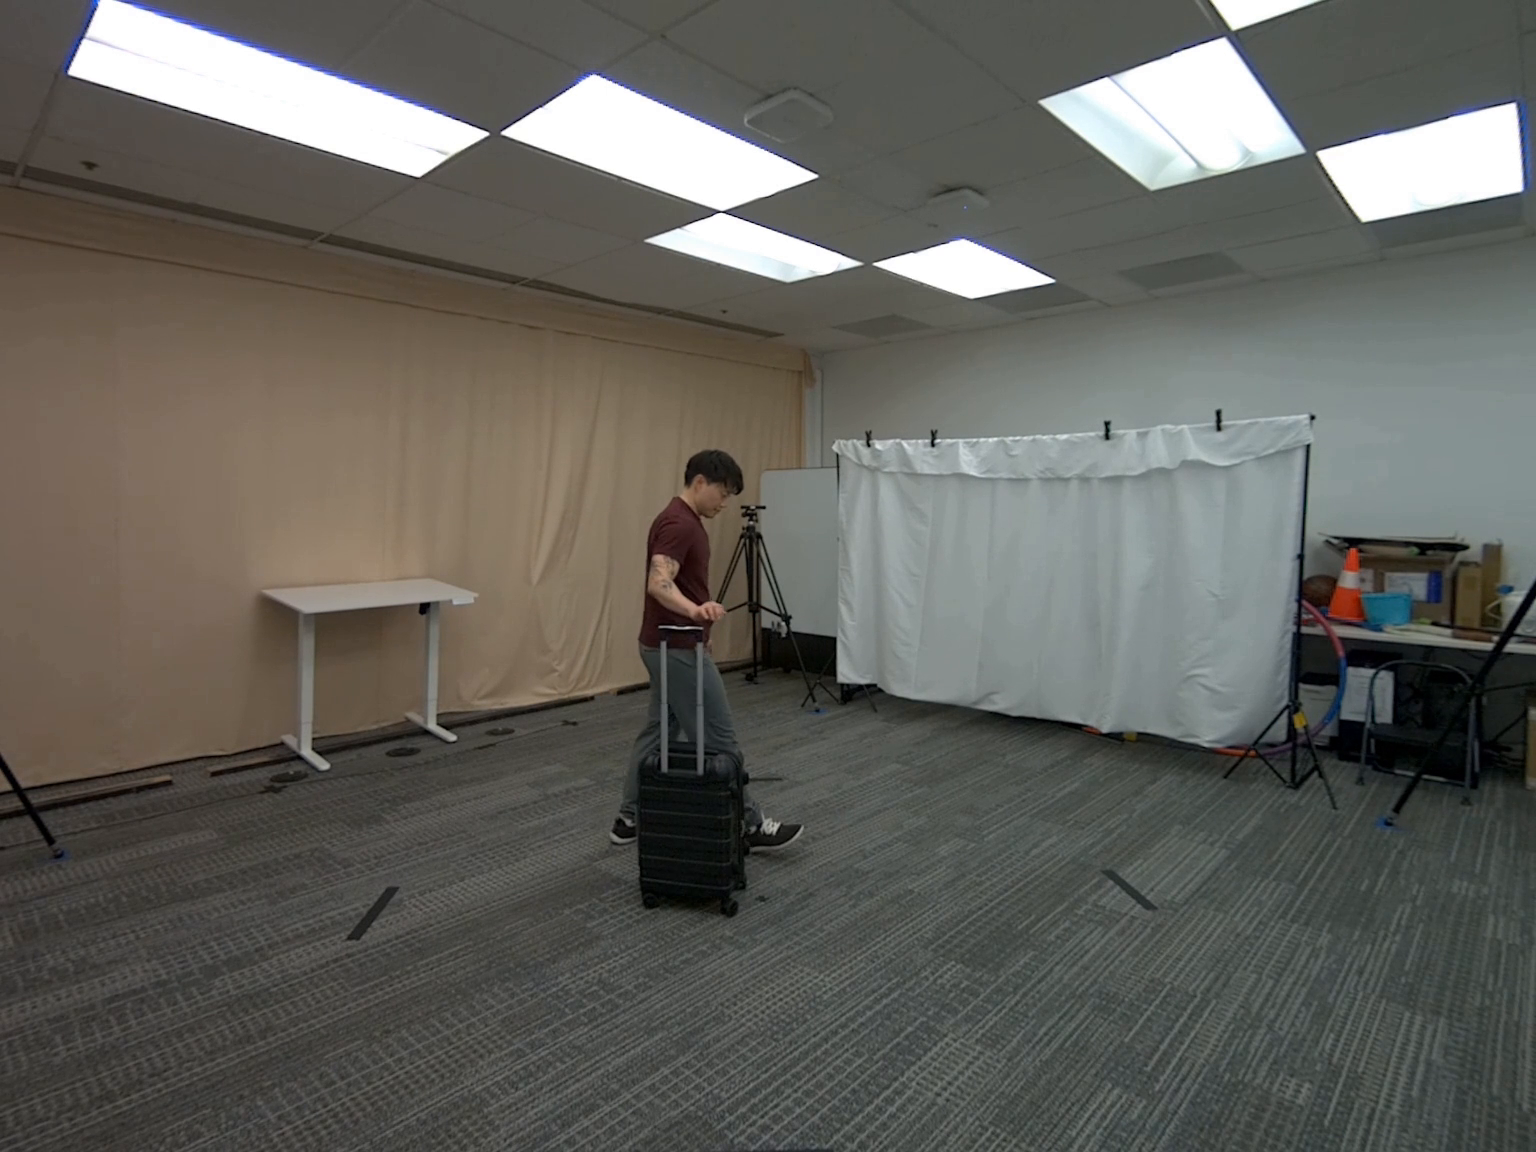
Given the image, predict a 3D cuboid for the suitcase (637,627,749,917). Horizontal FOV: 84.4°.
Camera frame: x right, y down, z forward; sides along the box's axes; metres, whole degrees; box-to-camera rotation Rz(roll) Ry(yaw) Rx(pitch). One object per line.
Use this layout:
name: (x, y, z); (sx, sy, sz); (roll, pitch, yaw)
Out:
suitcase: (-0.267, 0.666, 2.980); (0.390, 0.977, 0.253); (0, 2, 14)
